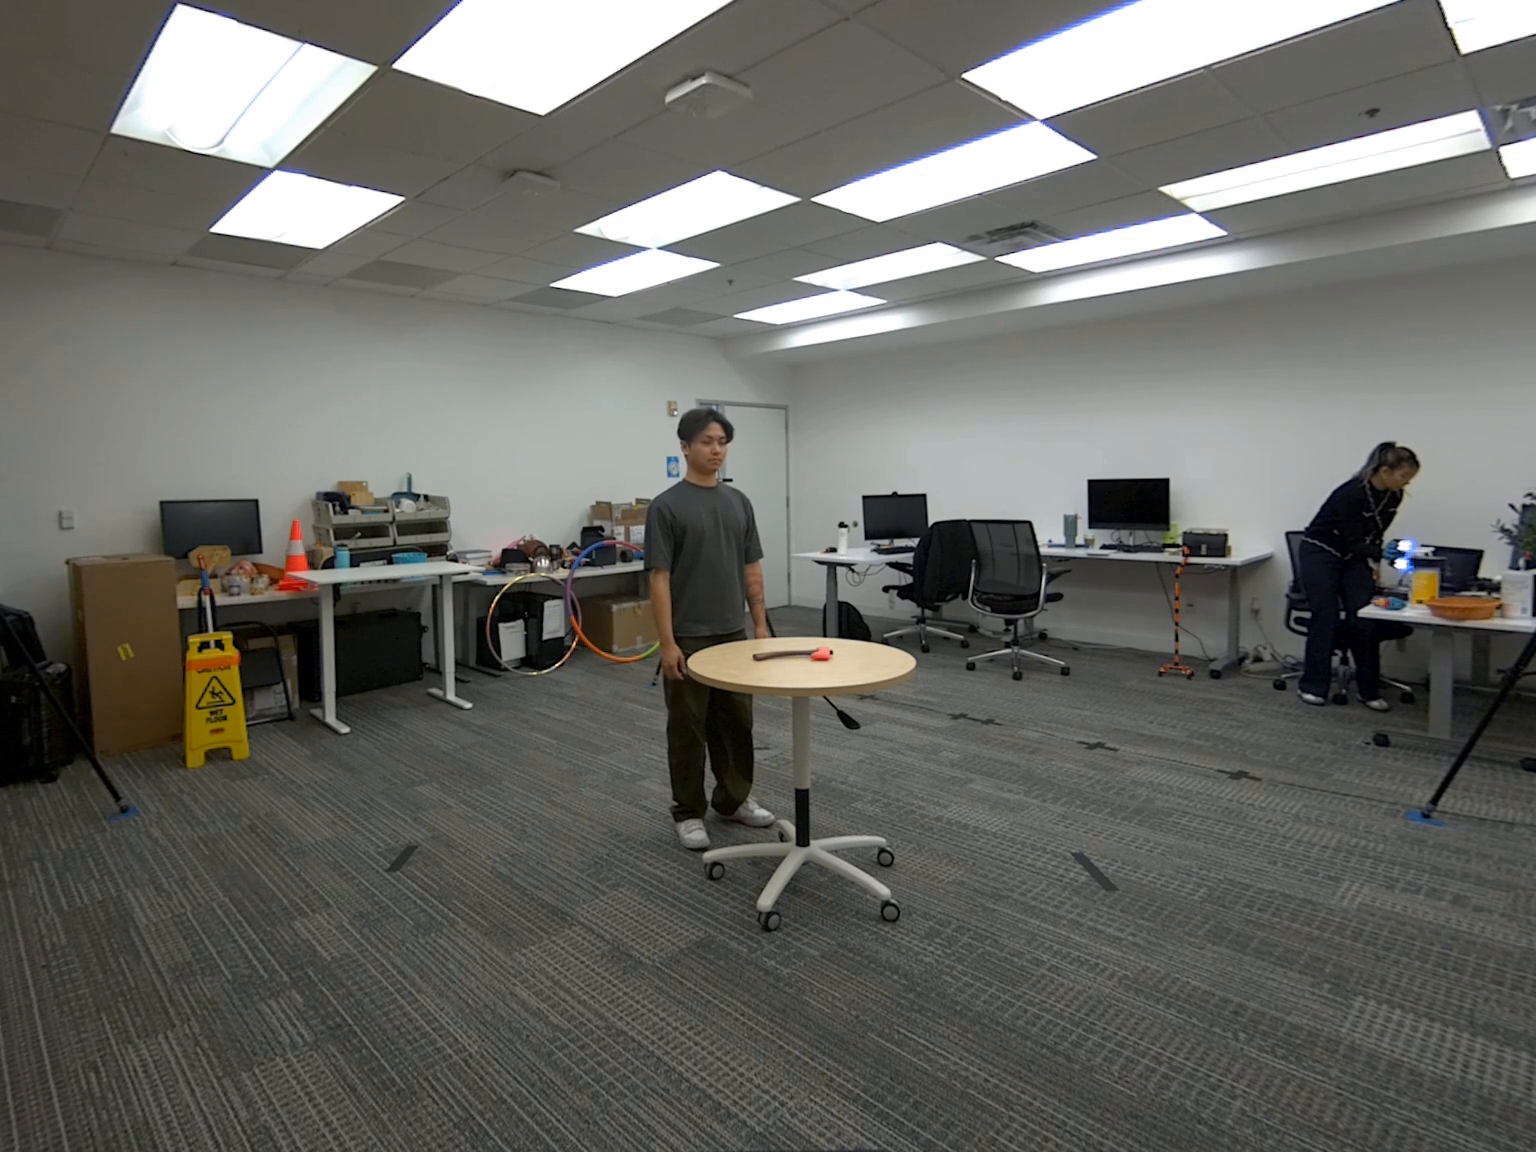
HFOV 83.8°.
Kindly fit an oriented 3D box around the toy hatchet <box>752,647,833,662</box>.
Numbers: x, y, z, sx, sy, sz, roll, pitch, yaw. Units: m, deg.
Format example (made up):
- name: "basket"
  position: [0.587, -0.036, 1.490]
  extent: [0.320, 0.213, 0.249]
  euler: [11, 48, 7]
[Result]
- name: "toy hatchet"
  position: [0.111, 0.274, 2.883]
  extent: [0.266, 0.029, 0.134]
  euler: [-6, 12, -18]
